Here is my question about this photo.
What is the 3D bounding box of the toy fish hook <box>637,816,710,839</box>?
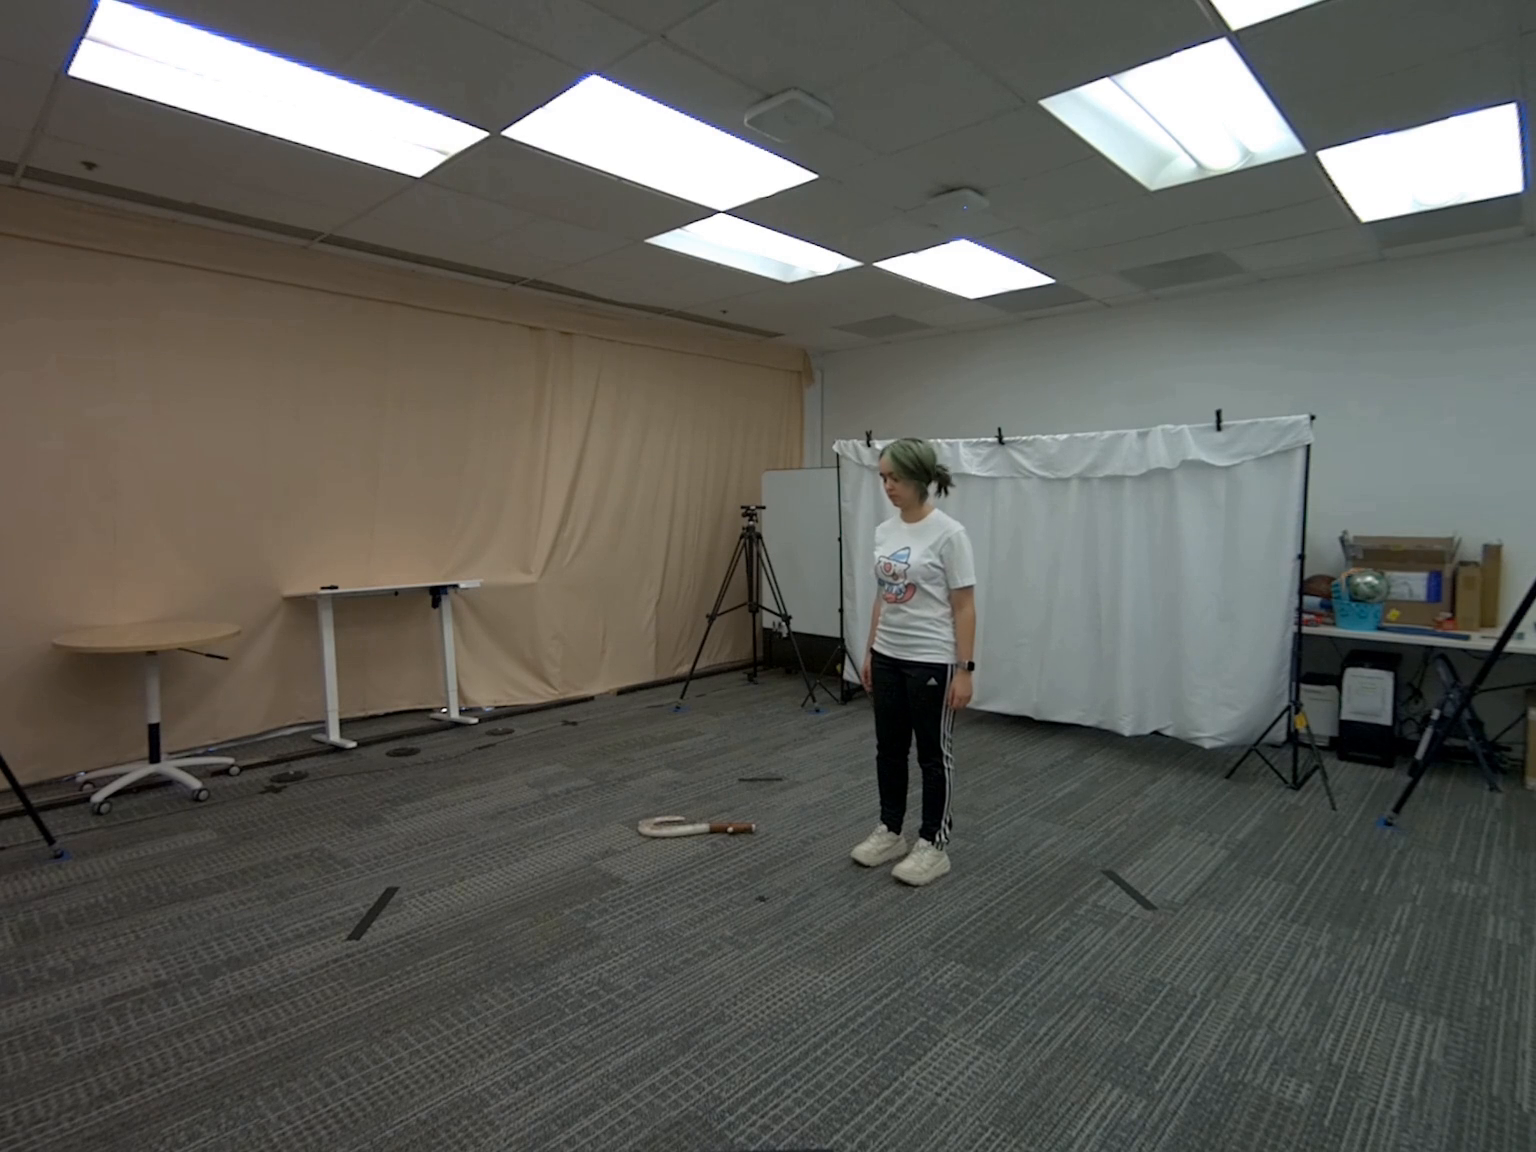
[{"bbox_3d":[-0.306,1.068,3.630,0.506,0.048,0.225,0,5,-1],"label":"toy fish hook"}]
